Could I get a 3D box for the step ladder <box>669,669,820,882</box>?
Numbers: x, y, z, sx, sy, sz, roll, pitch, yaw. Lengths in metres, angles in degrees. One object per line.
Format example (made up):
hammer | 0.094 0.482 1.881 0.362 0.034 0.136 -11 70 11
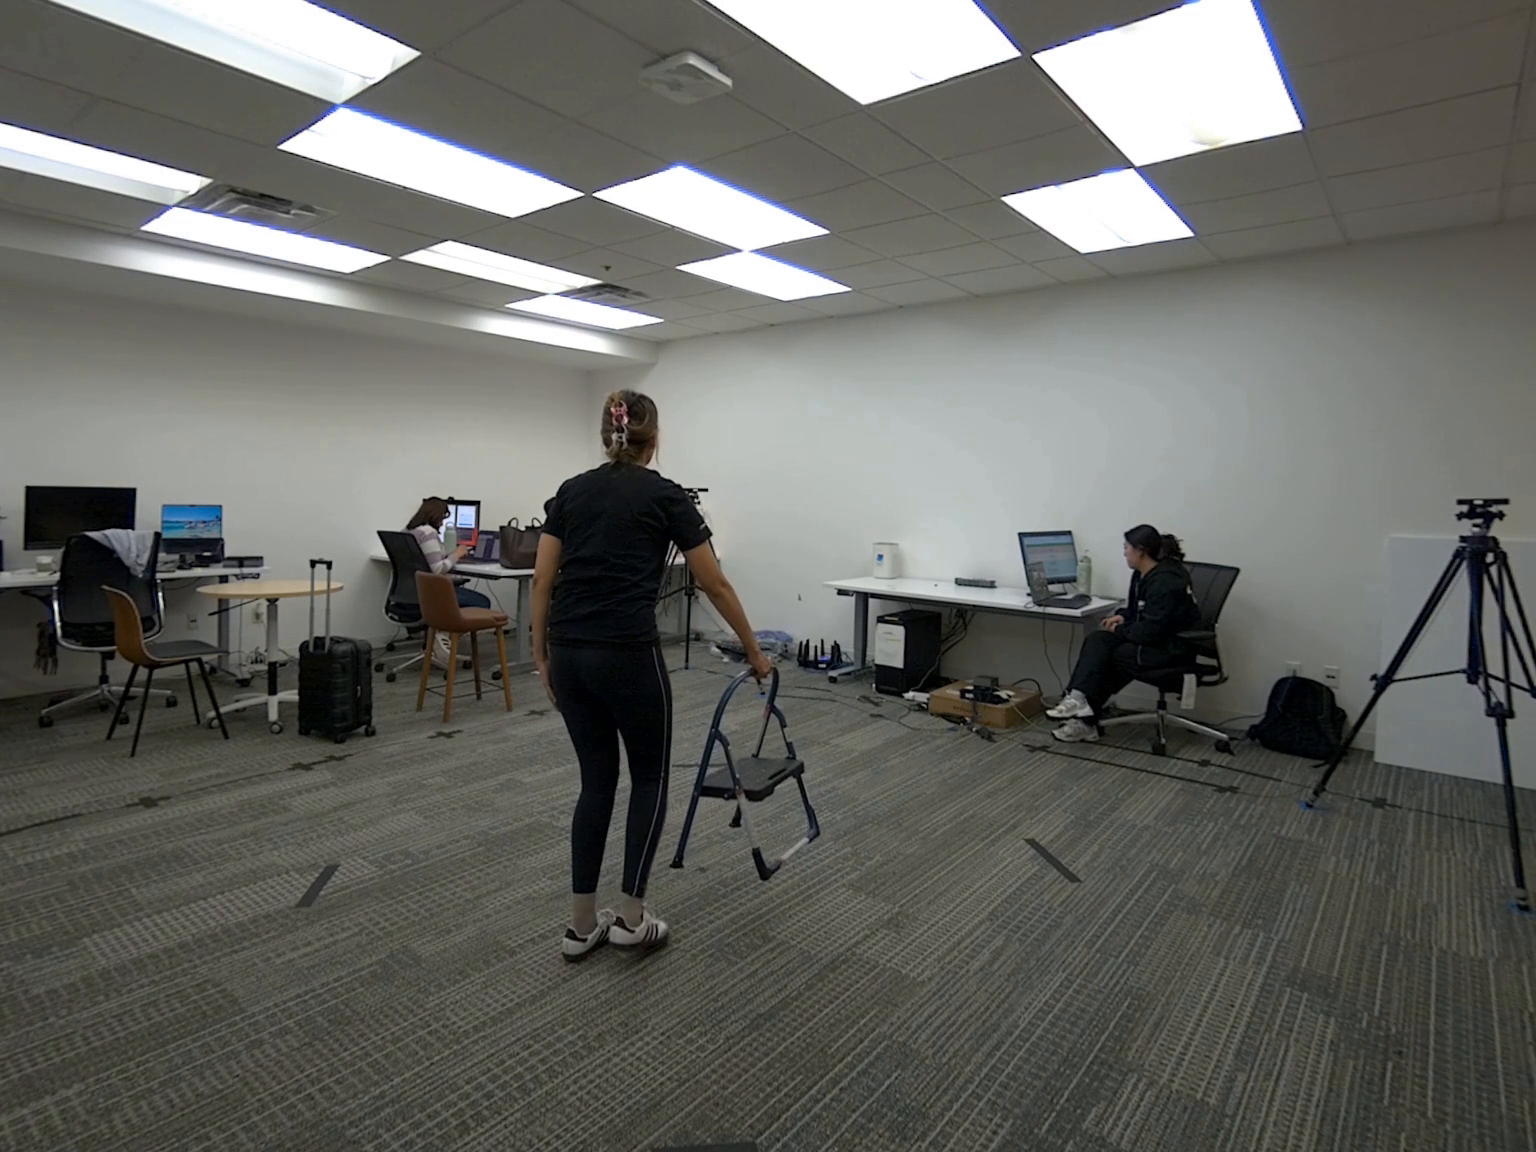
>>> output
step ladder | -0.092 0.604 2.801 0.358 0.606 0.420 -5 0 27
